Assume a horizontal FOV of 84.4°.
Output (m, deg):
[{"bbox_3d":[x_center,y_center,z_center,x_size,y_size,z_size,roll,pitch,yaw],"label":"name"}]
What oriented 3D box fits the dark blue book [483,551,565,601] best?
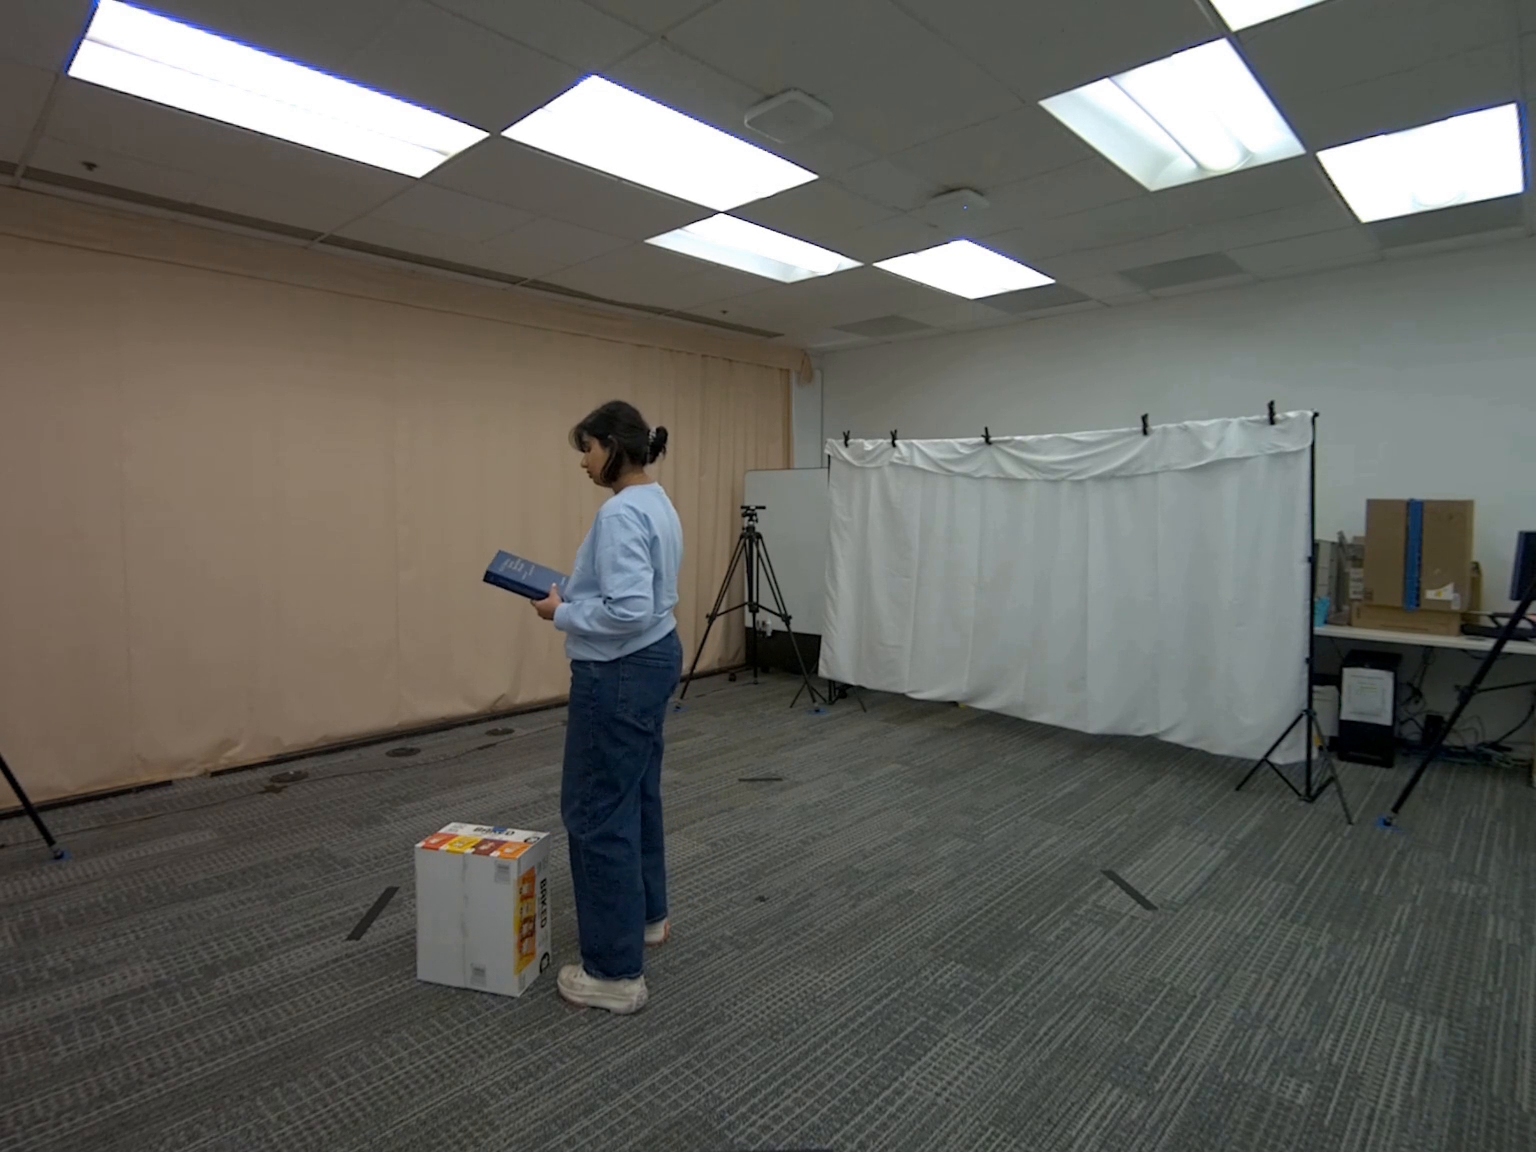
[{"bbox_3d":[-0.716,0.013,2.532,0.243,0.045,0.165,20,18,-8],"label":"dark blue book"}]
